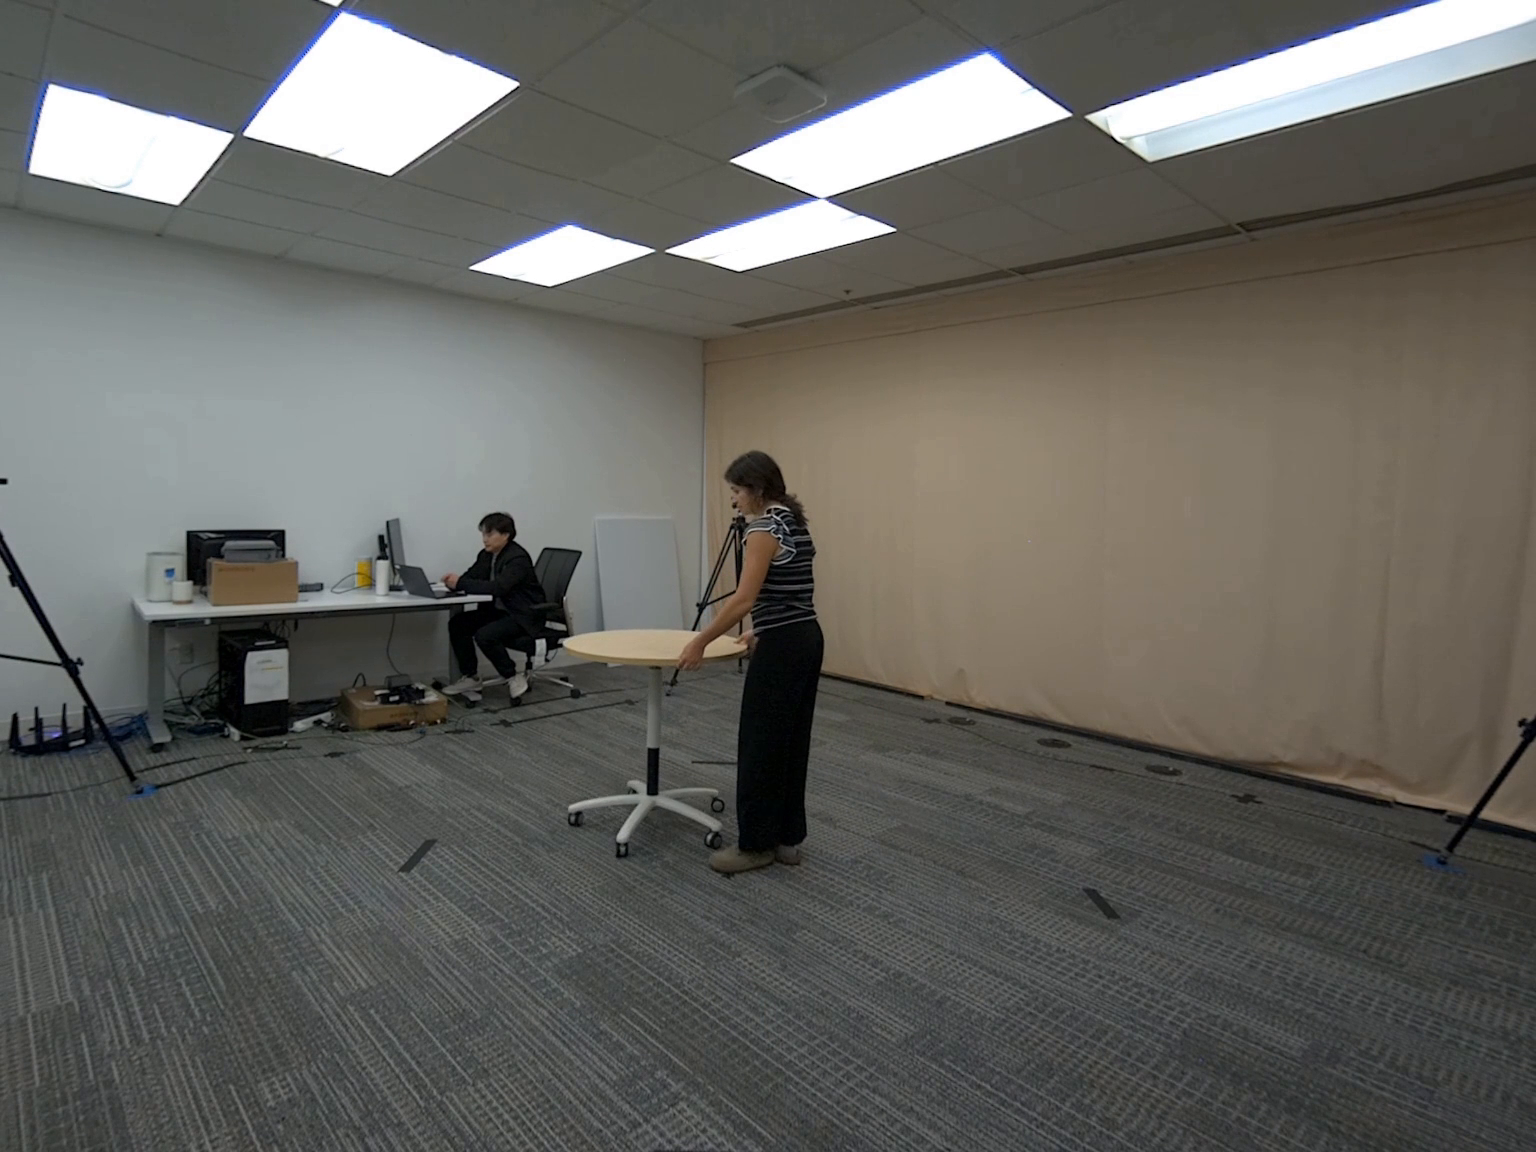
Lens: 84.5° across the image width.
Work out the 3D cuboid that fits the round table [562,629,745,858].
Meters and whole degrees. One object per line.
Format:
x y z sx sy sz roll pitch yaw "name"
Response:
-0.487 0.666 3.554 0.784 0.784 0.787 2 4 -1 "round table"
